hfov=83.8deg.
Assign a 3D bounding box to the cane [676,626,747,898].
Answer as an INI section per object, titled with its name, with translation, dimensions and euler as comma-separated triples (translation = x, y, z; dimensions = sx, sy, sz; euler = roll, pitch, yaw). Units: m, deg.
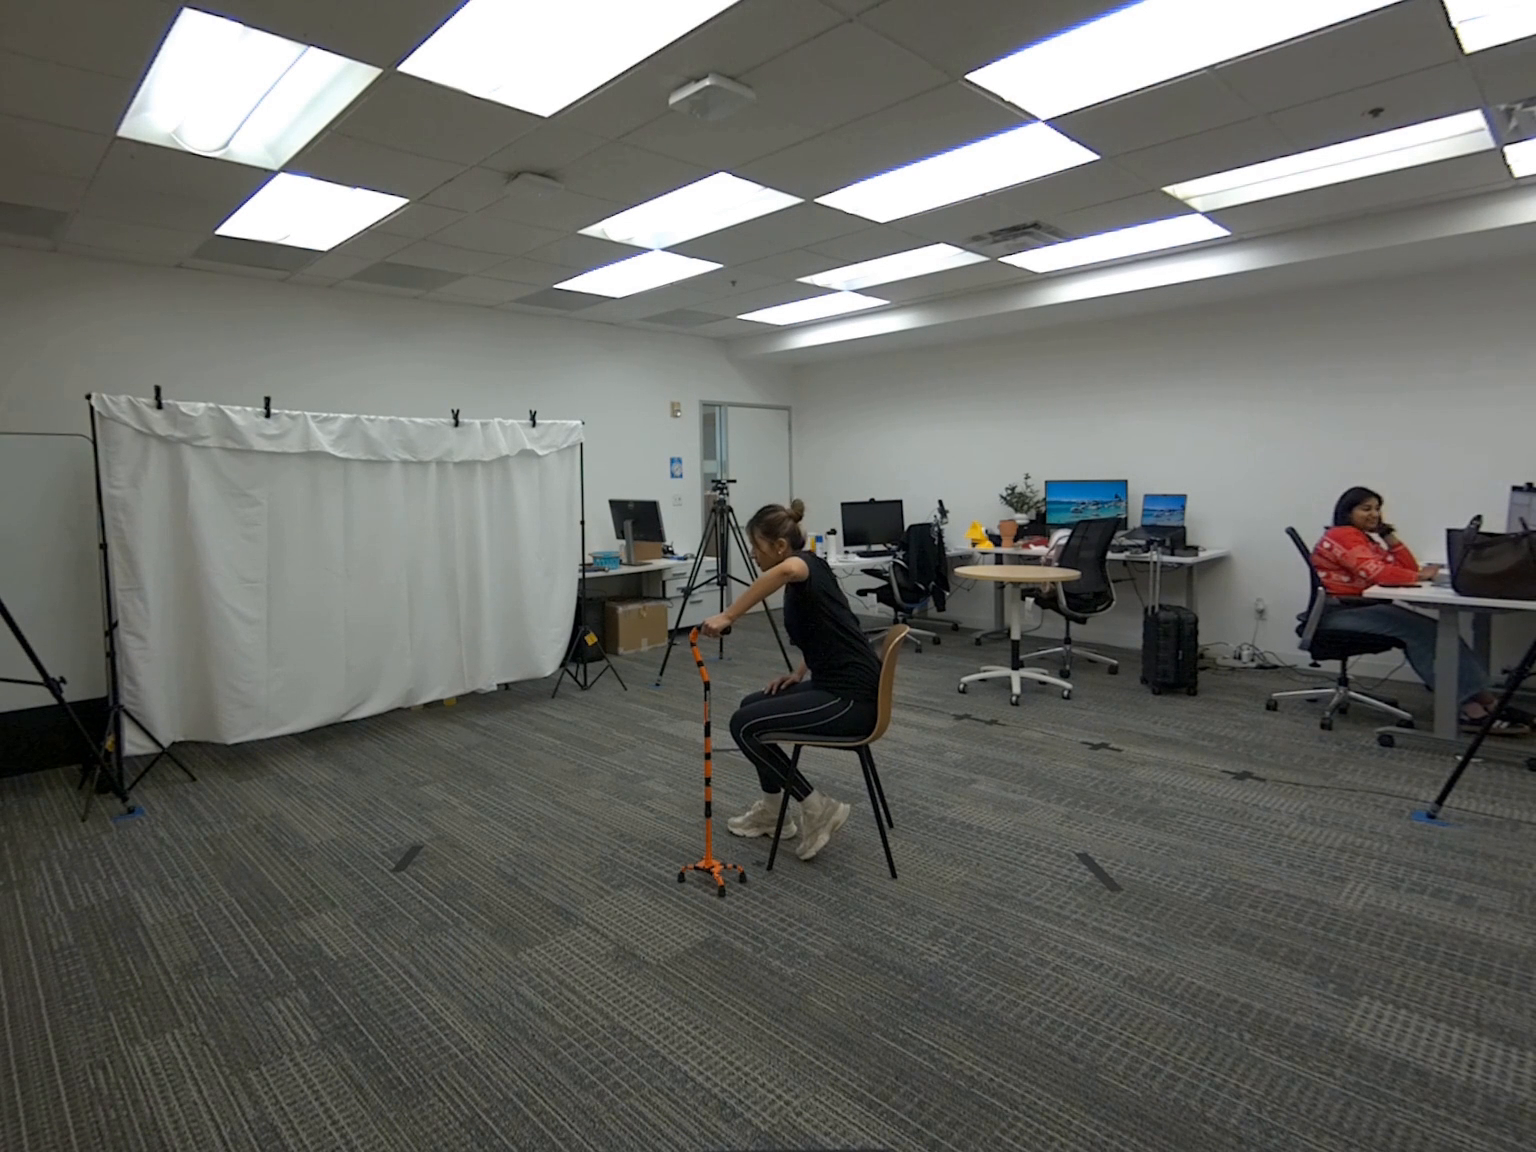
[cane]
translation = -0.196, 0.620, 2.948
dimensions = 0.212, 0.905, 0.147
euler = 3, 4, 37
